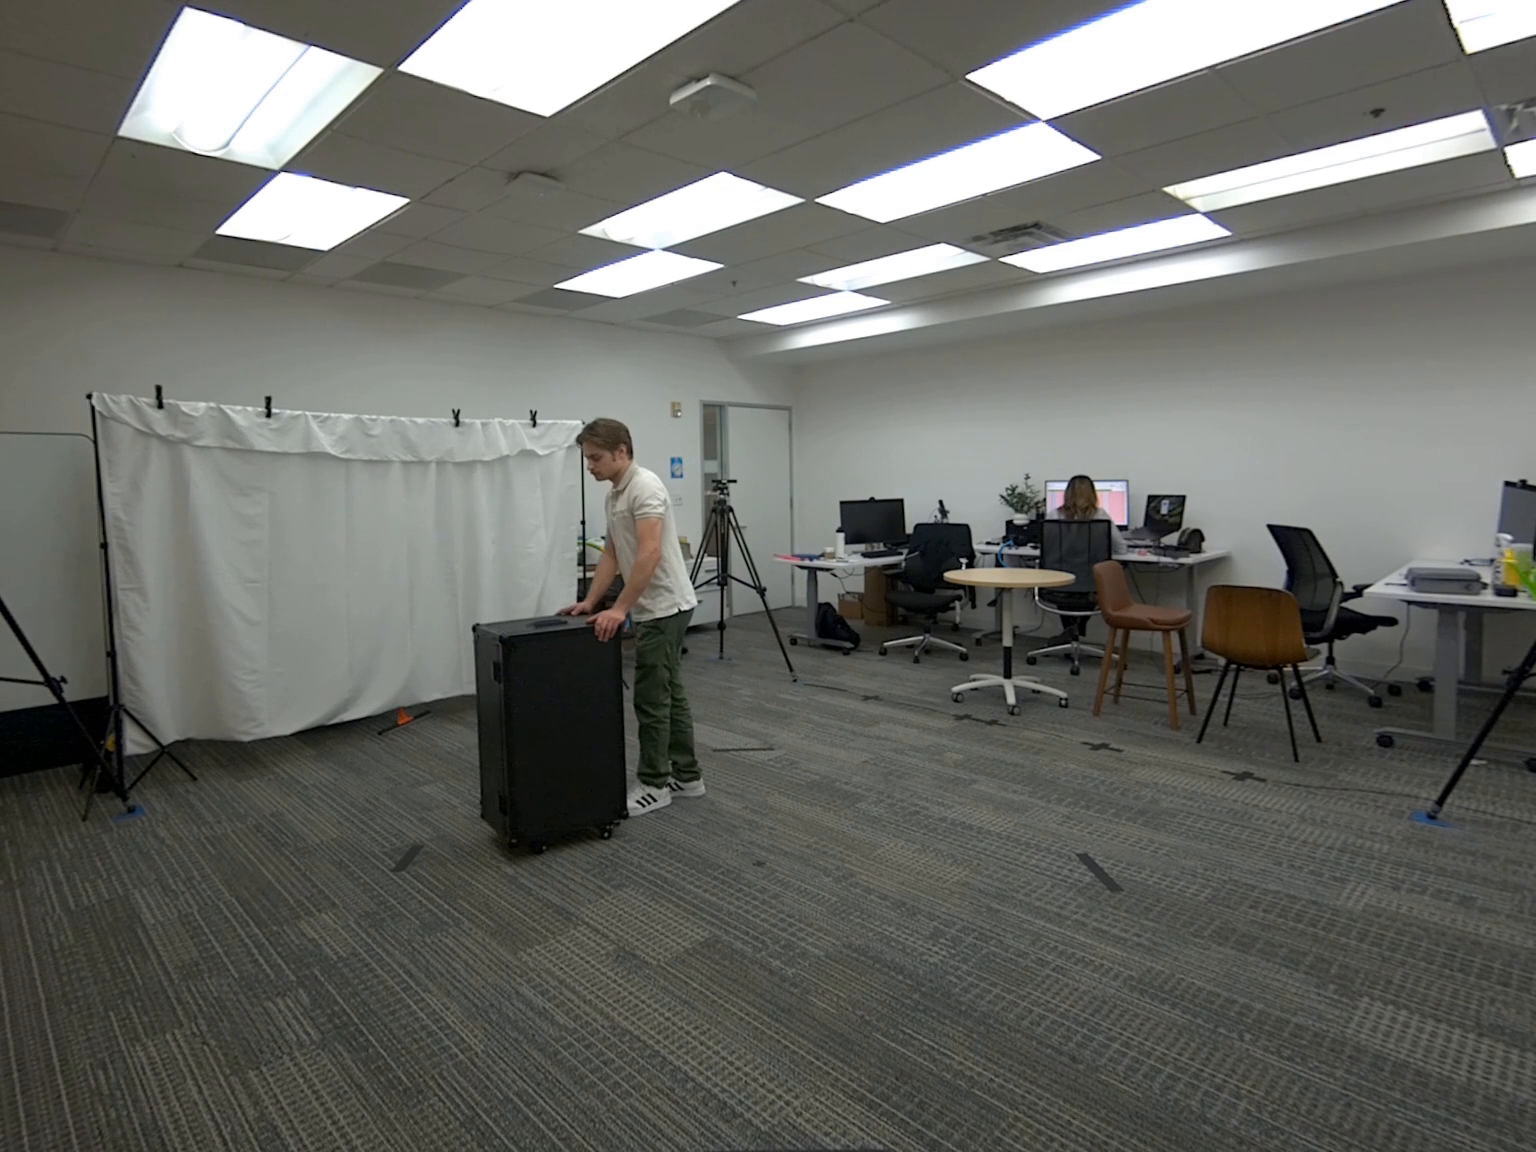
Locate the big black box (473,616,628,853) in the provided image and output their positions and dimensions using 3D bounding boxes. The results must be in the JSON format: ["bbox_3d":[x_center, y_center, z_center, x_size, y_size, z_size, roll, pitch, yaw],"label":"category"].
[{"bbox_3d":[-0.867,0.612,3.367,0.510,0.866,0.396,-3,4,-34],"label":"big black box"}]
